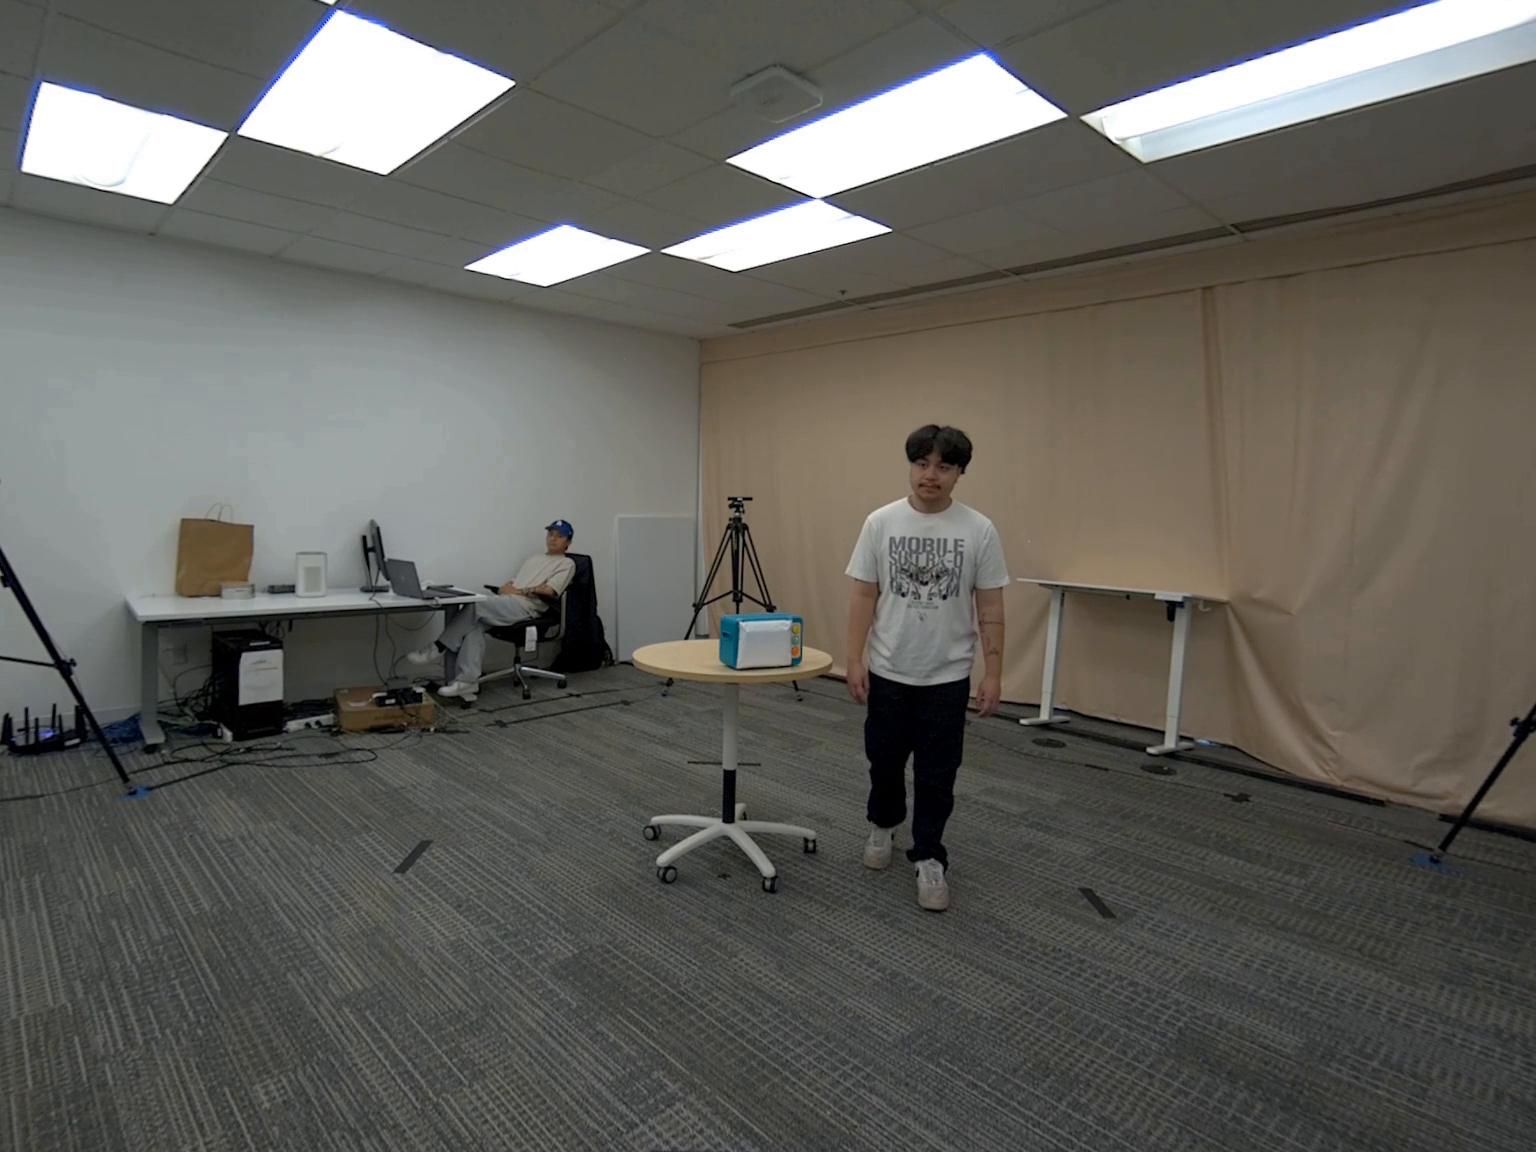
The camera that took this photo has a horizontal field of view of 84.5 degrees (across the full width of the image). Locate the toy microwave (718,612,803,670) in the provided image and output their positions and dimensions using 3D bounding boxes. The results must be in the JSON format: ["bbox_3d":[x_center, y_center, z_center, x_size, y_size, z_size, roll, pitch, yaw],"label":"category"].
[{"bbox_3d":[-0.023,0.234,3.013,0.281,0.183,0.156,-1,5,-27],"label":"toy microwave"}]
